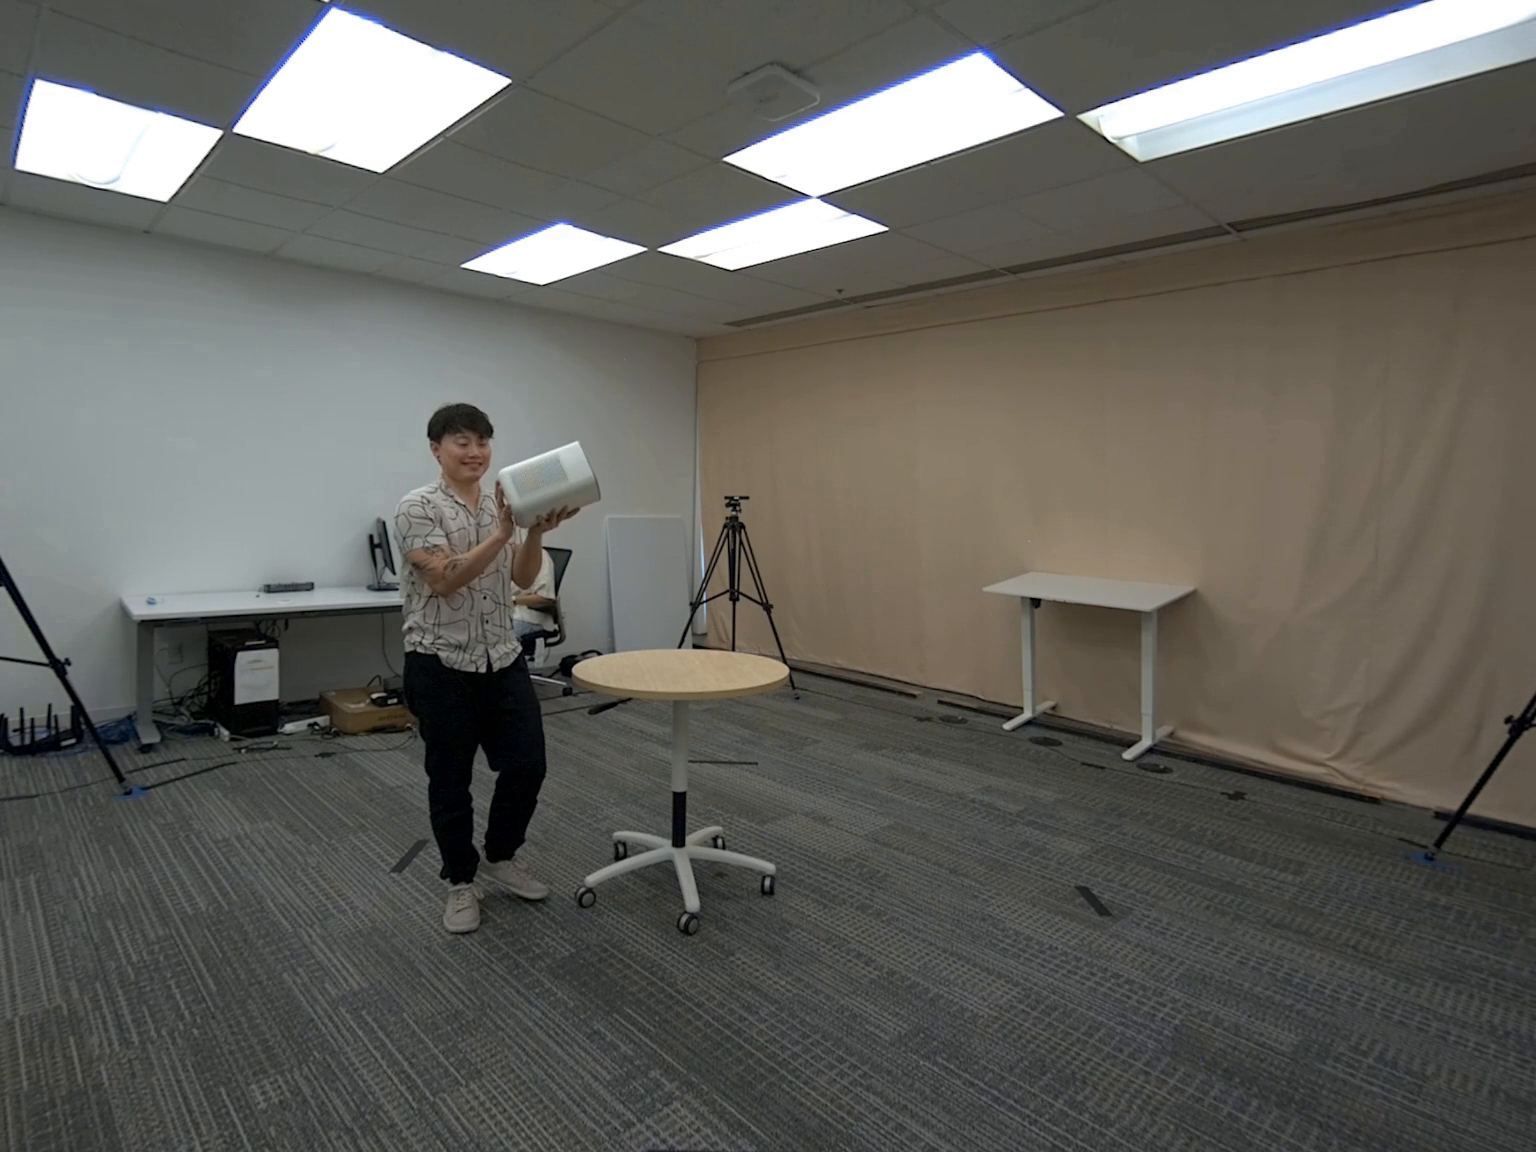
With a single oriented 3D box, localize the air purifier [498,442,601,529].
[{"bbox_3d":[-0.674,-0.277,2.538,0.264,0.174,0.170,-22,-12,-13],"label":"air purifier"}]
